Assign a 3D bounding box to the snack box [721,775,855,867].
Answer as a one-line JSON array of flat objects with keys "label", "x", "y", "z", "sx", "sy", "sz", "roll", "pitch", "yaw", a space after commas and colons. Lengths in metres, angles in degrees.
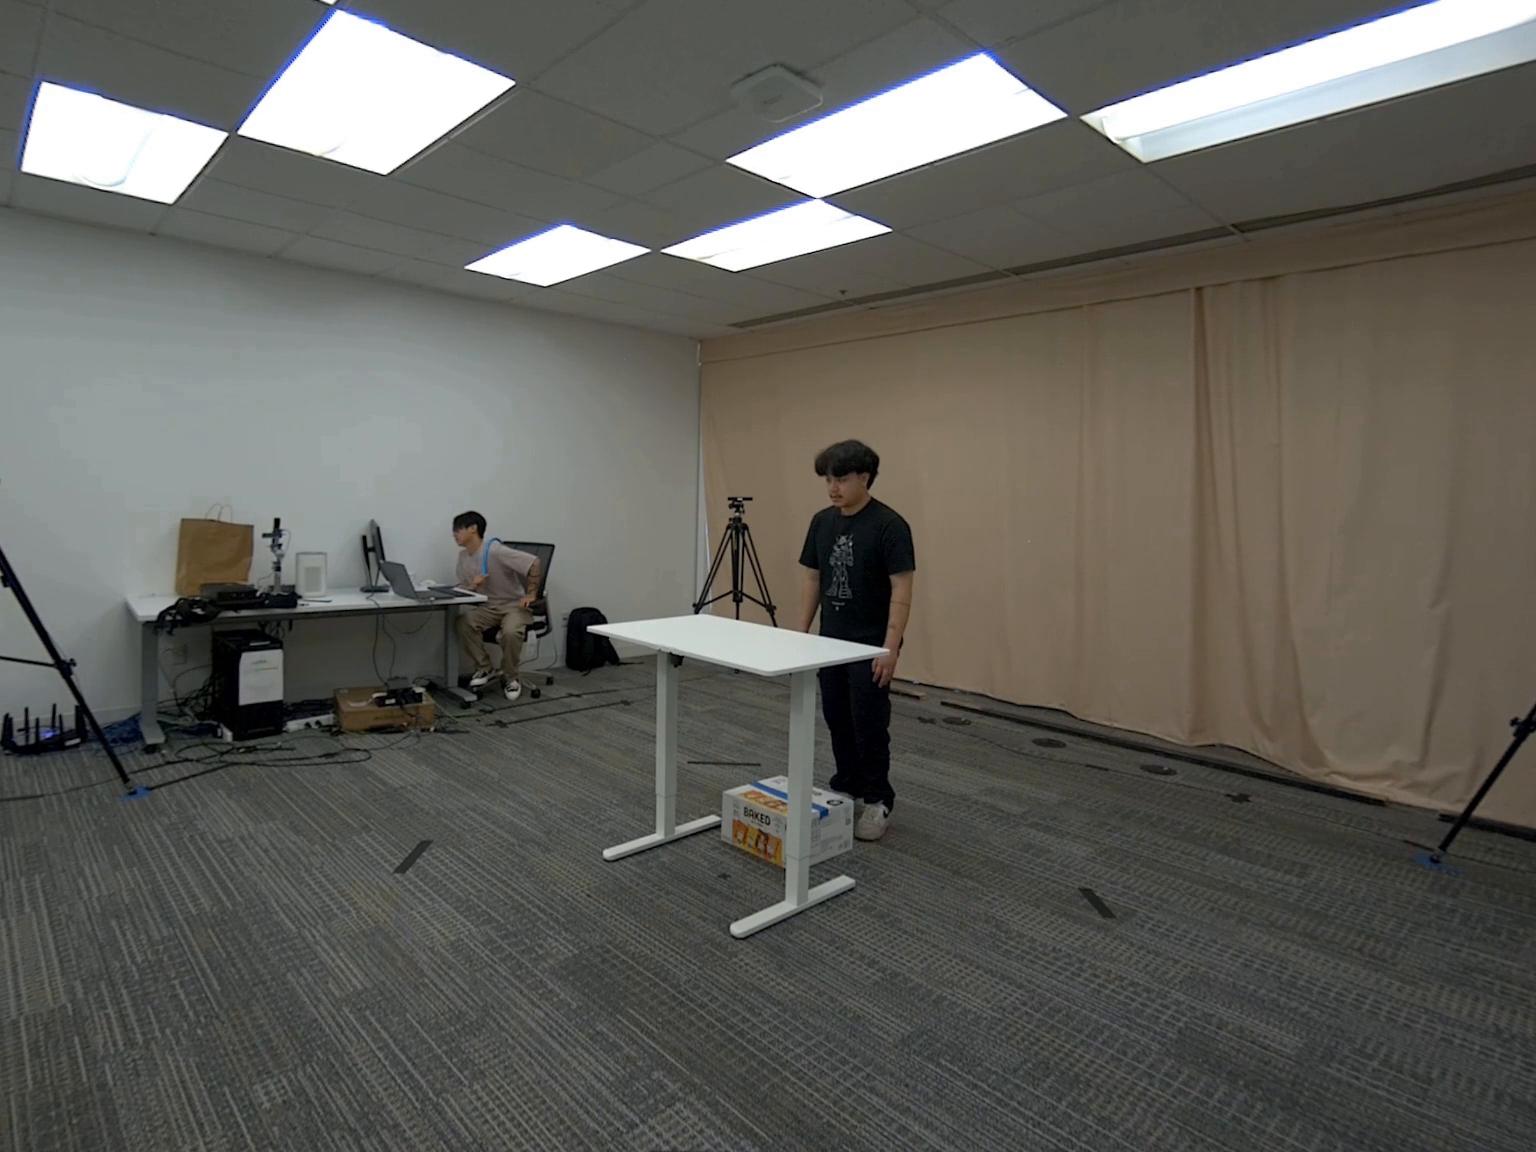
[{"label": "snack box", "x": 0.070, "y": 0.988, "z": 3.387, "sx": 0.332, "sy": 0.205, "sz": 0.415, "roll": -3, "pitch": 6, "yaw": -44}]
